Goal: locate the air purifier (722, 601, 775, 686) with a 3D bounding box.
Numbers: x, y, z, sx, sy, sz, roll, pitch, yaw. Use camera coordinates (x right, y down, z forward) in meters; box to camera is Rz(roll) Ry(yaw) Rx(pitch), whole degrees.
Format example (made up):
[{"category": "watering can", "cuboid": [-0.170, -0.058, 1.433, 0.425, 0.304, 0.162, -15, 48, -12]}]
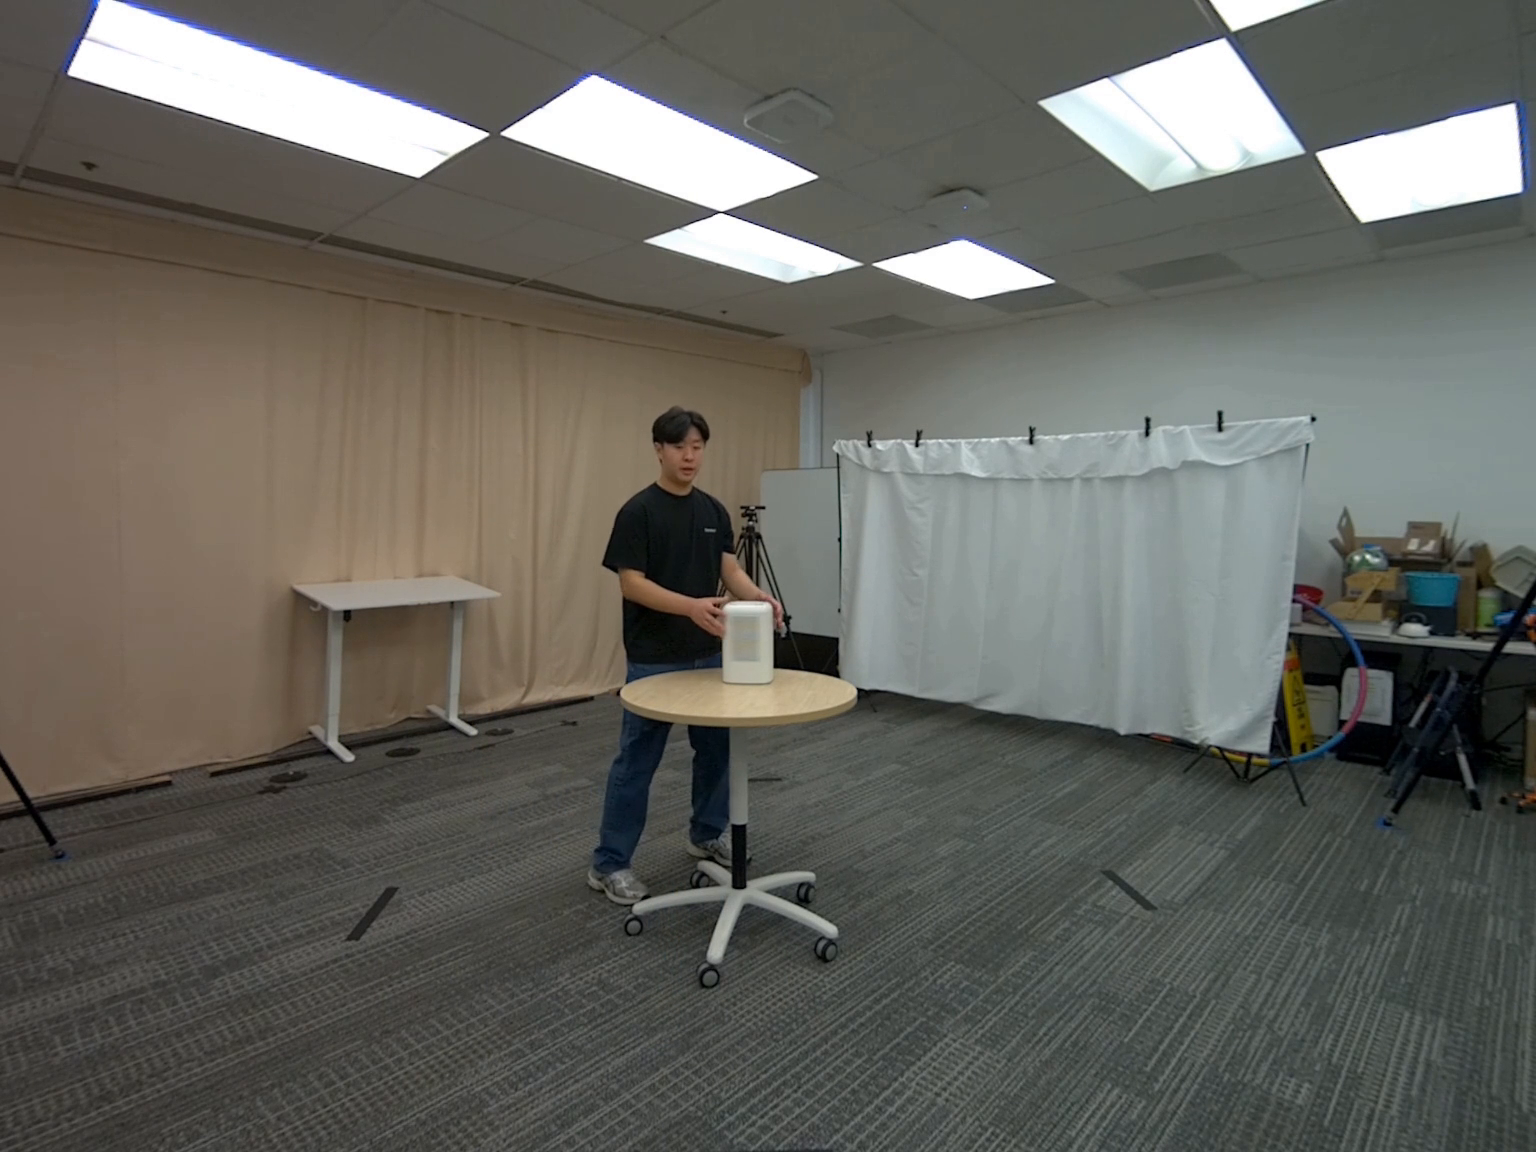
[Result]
[{"category": "air purifier", "cuboid": [-0.061, 0.230, 2.891, 0.172, 0.265, 0.170, 1, 4, 4]}]
